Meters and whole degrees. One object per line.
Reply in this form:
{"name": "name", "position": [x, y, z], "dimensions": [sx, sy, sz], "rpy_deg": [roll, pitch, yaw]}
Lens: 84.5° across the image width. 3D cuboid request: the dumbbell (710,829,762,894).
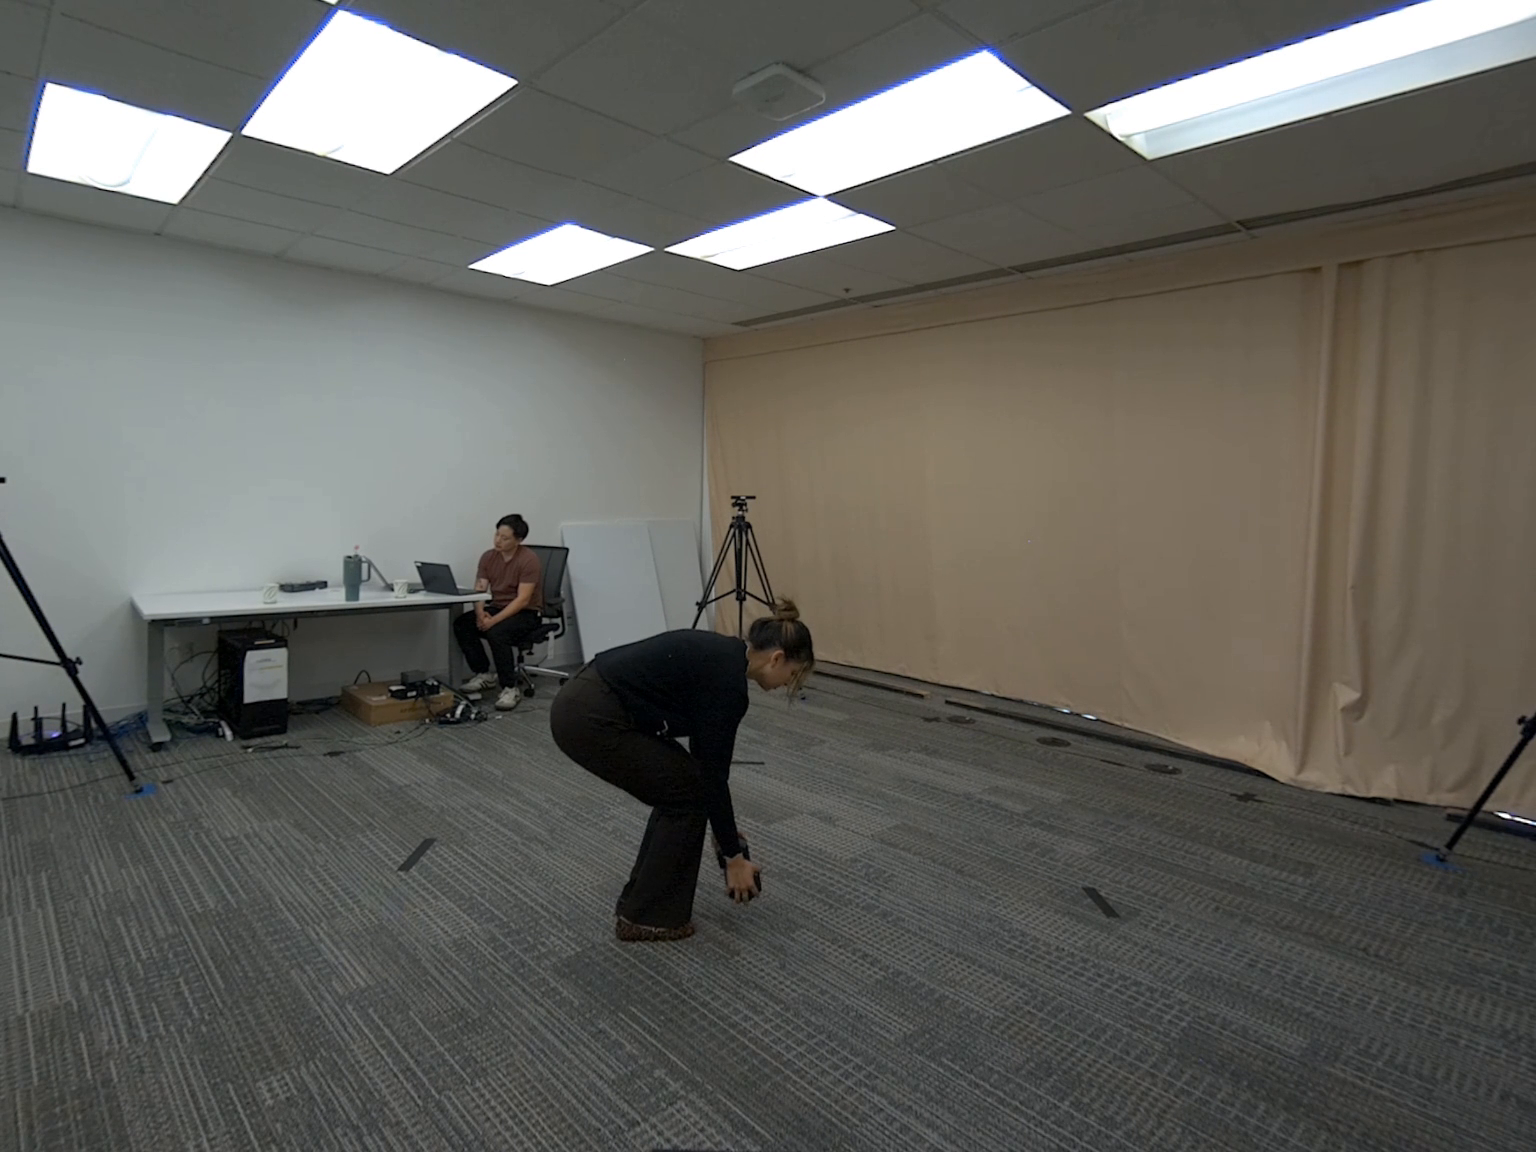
{"name": "dumbbell", "position": [-0.118, 0.965, 2.777], "dimensions": [0.108, 0.122, 0.296], "rpy_deg": [-10, 8, -4]}
